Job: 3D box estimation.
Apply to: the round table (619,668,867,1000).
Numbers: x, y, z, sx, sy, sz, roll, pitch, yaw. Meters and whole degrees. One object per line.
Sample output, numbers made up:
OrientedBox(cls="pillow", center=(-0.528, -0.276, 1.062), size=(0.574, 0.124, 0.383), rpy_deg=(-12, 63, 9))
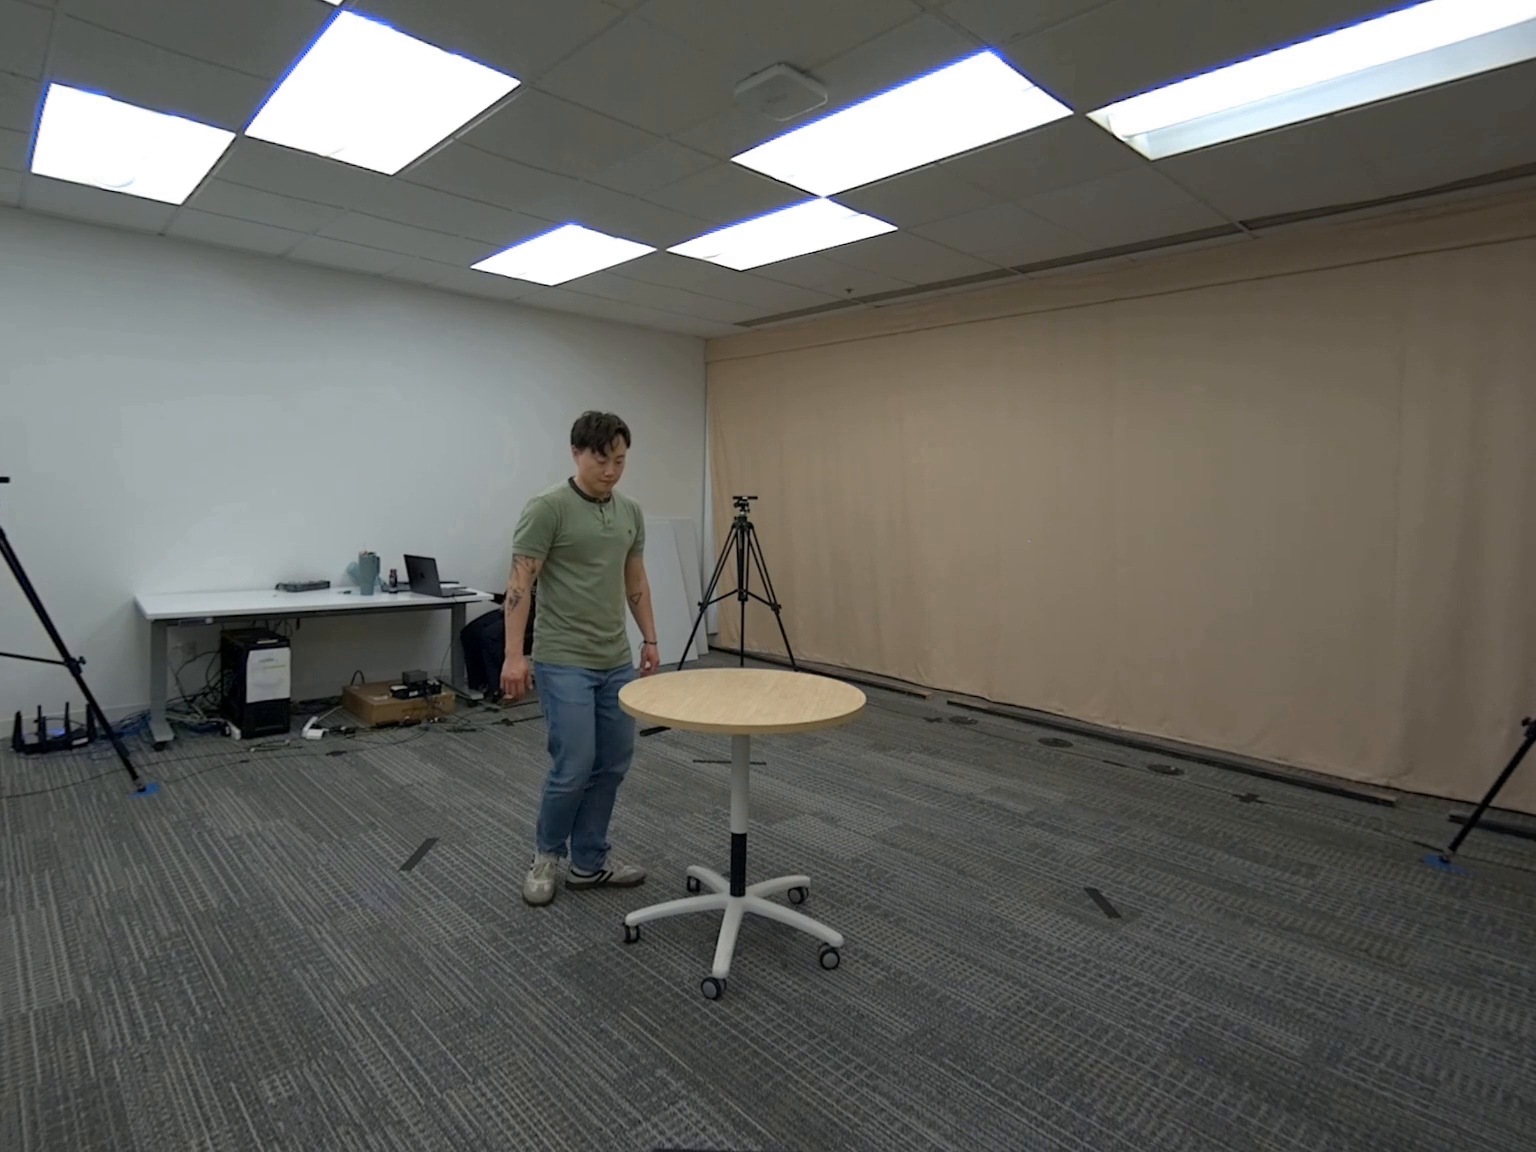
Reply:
OrientedBox(cls="round table", center=(-0.089, 0.758, 2.635), size=(0.763, 0.791, 0.767), rpy_deg=(1, 5, -1))
